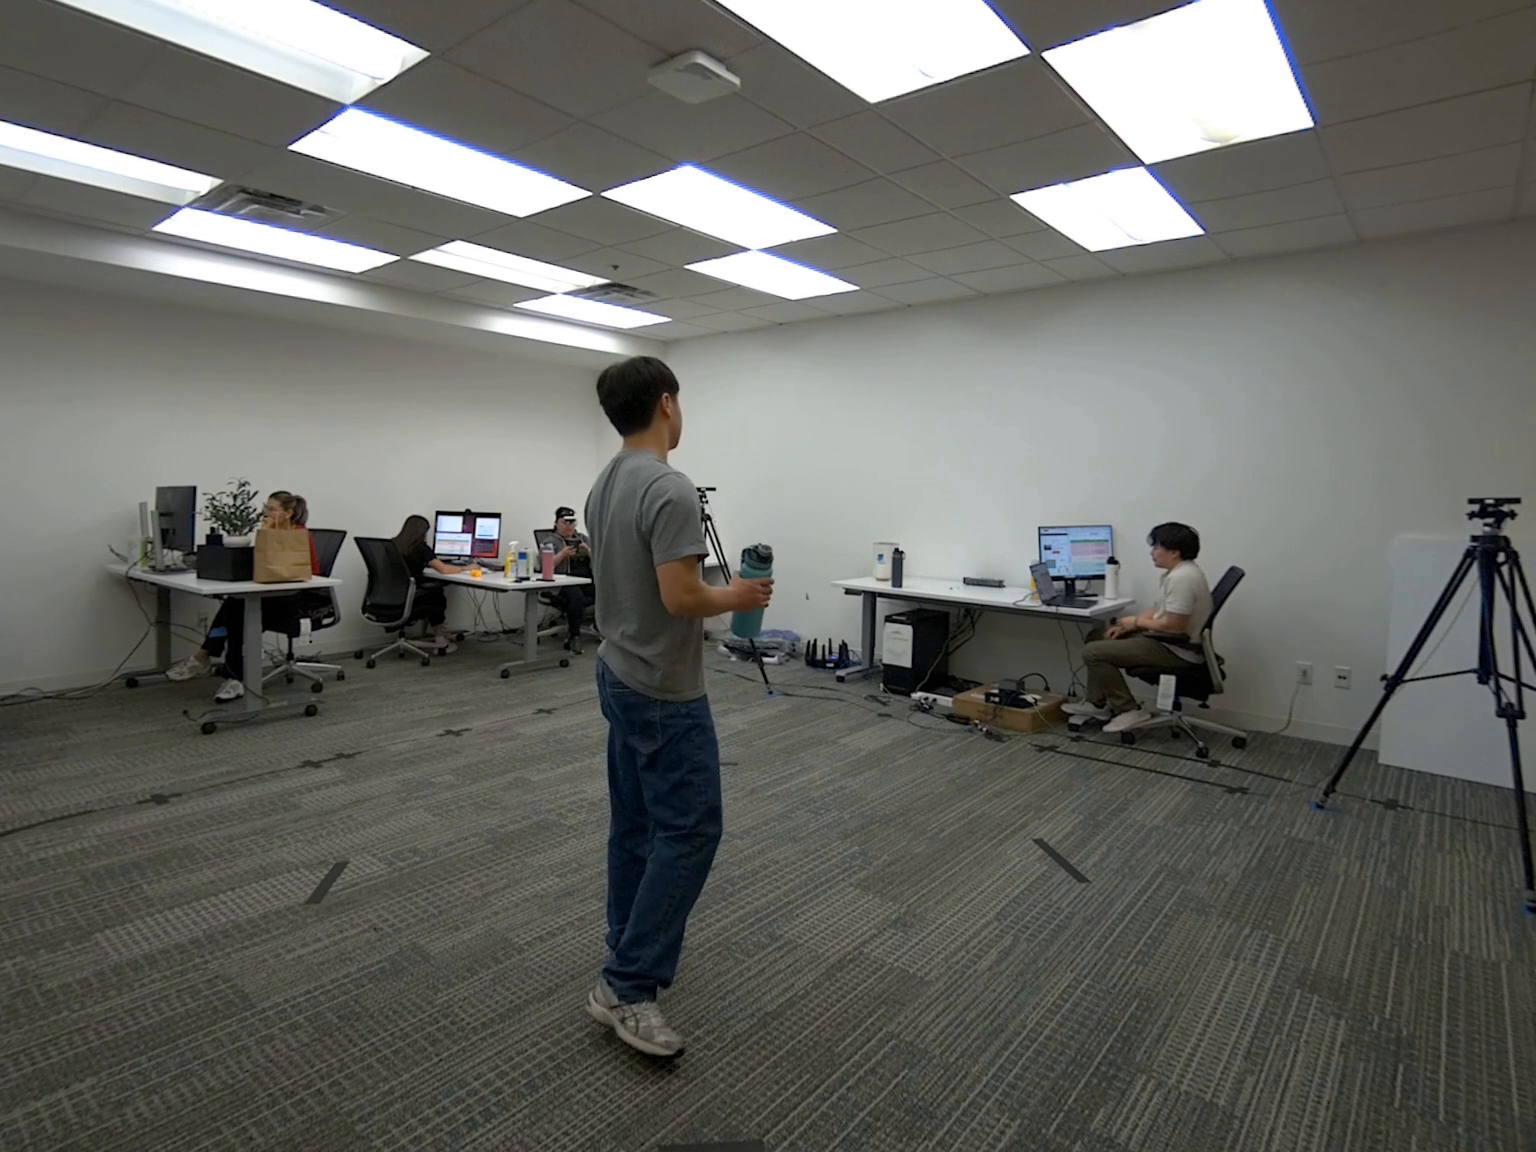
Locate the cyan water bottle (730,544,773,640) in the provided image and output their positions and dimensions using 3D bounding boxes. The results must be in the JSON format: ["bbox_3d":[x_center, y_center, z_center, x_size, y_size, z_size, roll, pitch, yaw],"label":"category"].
[{"bbox_3d":[-0.053,0.045,2.374,0.092,0.278,0.094,7,27,-6],"label":"cyan water bottle"}]
